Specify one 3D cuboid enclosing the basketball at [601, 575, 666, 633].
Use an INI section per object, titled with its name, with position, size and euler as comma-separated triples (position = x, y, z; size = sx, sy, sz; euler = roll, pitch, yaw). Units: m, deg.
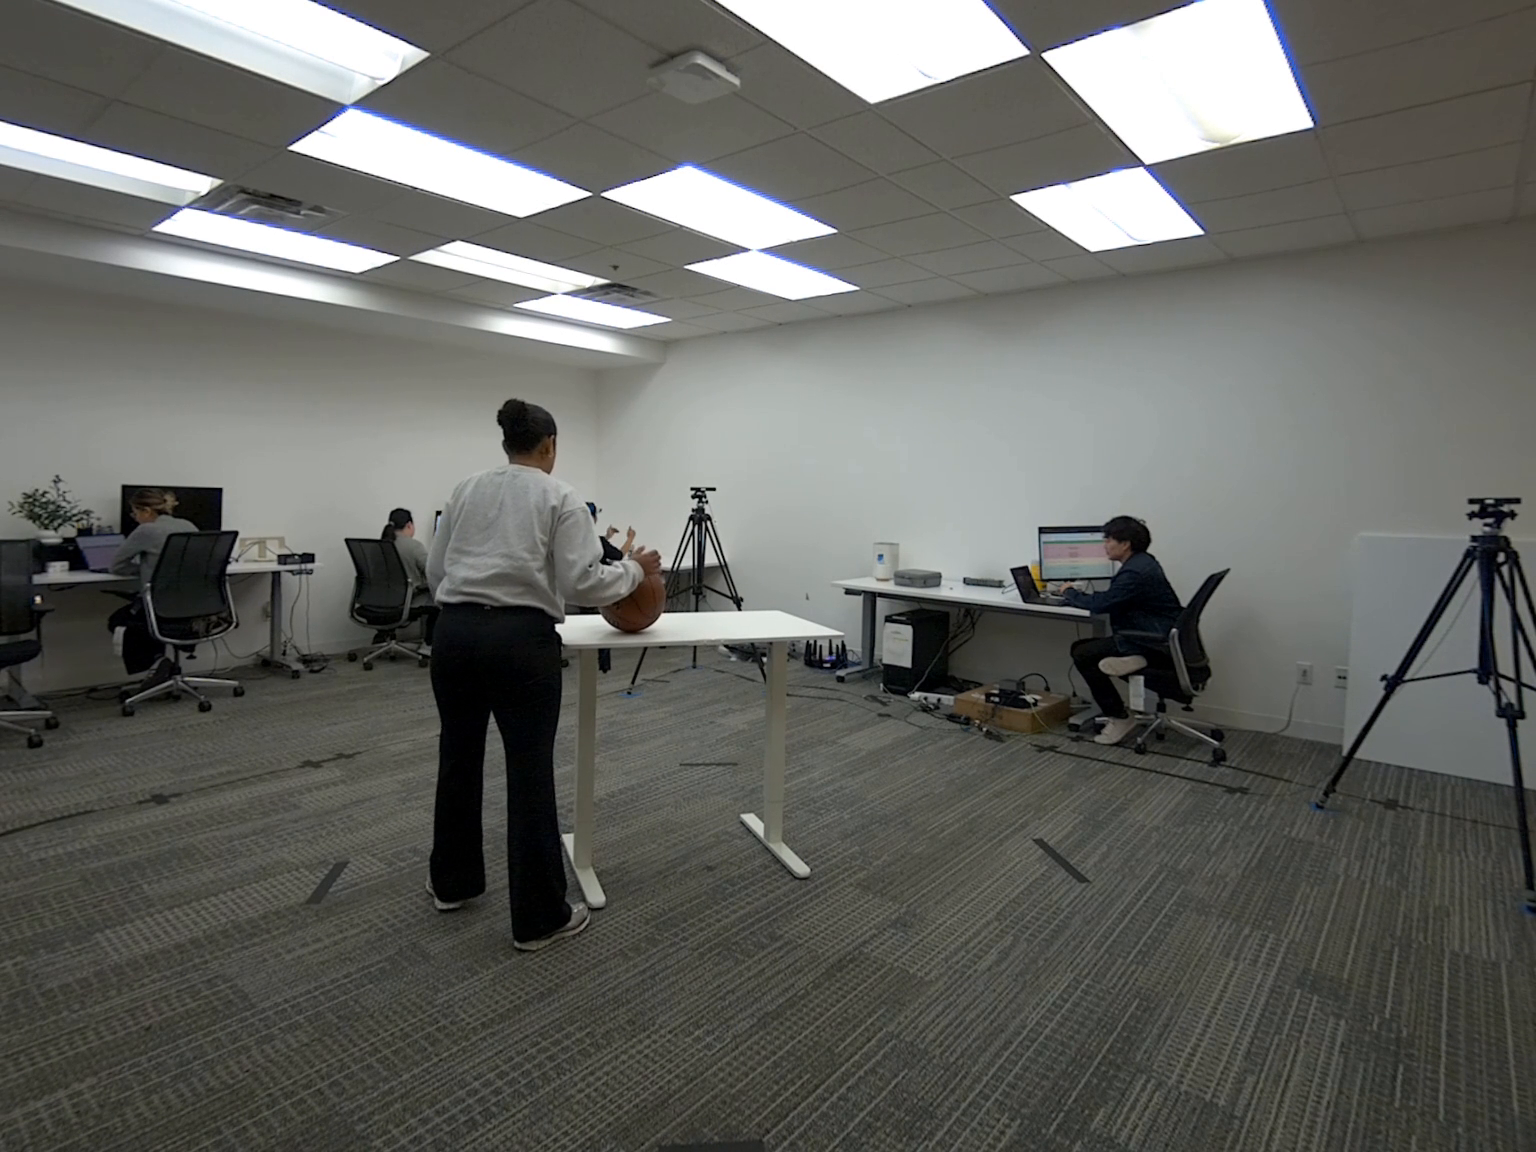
[basketball]
position = -0.487, 0.071, 2.965
size = 0.235, 0.235, 0.237
euler = 1, 4, -2
